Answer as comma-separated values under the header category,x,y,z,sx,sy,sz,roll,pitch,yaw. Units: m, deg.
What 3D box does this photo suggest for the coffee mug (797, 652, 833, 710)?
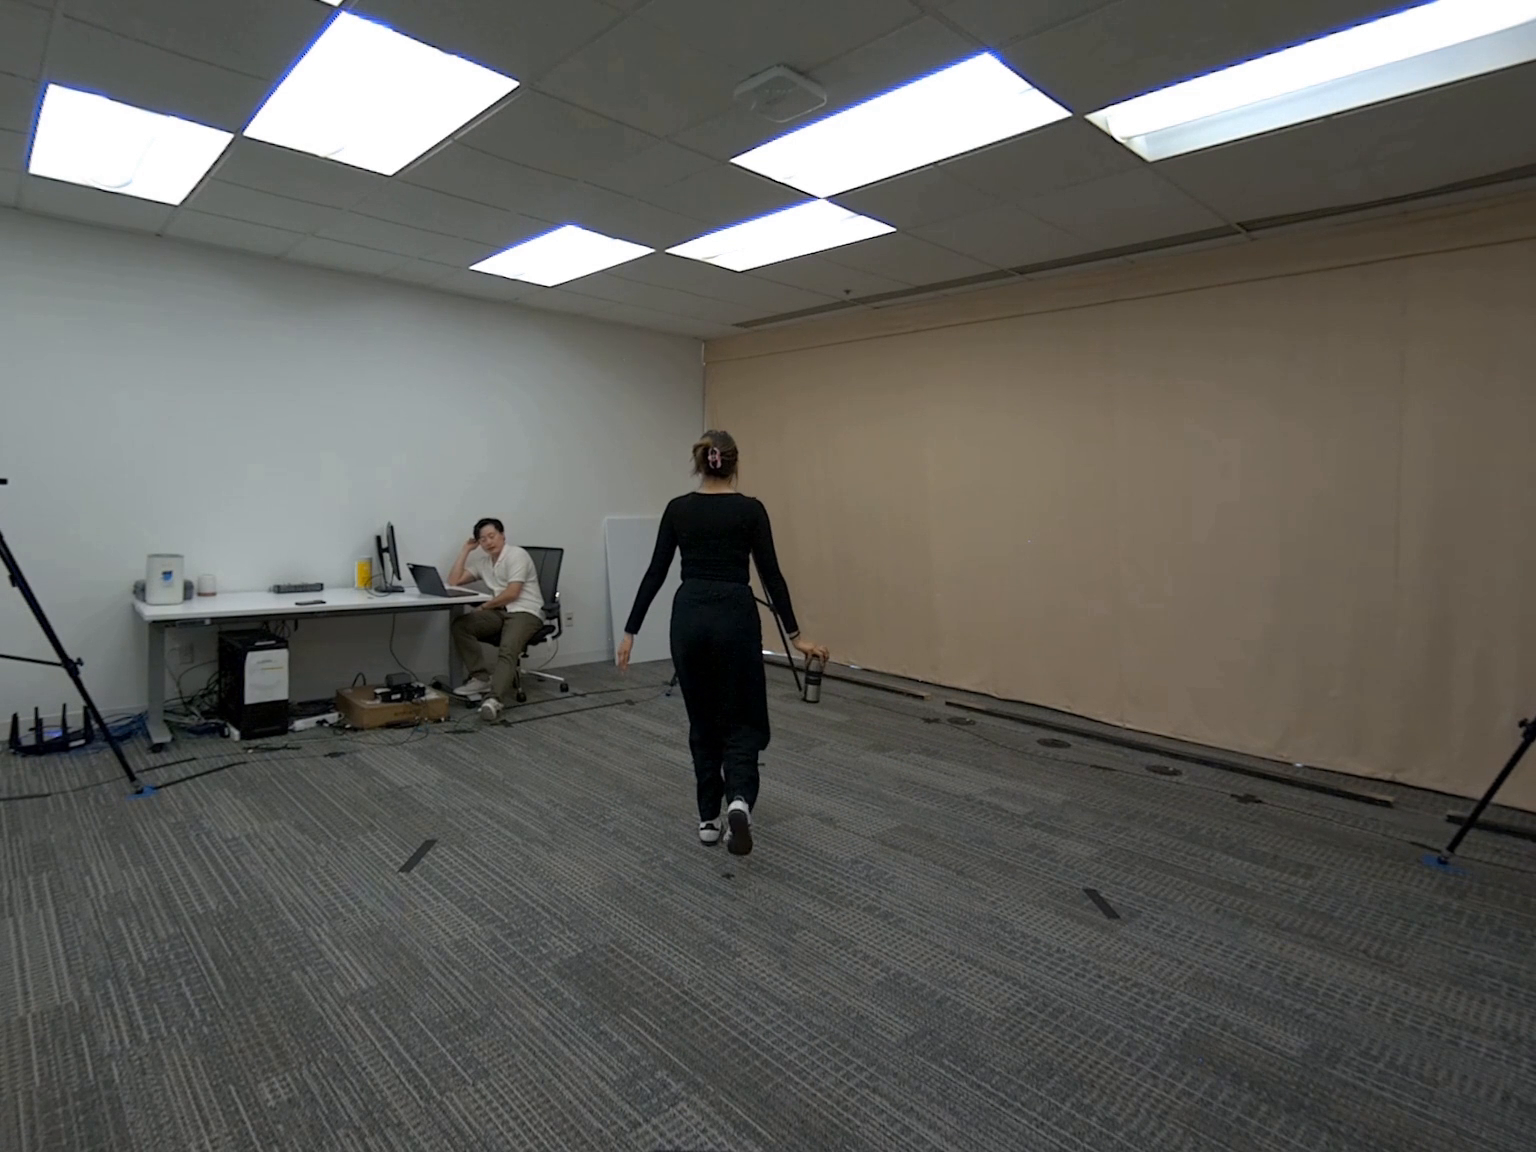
category,x,y,z,sx,sy,sz,roll,pitch,yaw
coffee mug,0.189,0.415,3.430,0.089,0.202,0.120,7,7,21
